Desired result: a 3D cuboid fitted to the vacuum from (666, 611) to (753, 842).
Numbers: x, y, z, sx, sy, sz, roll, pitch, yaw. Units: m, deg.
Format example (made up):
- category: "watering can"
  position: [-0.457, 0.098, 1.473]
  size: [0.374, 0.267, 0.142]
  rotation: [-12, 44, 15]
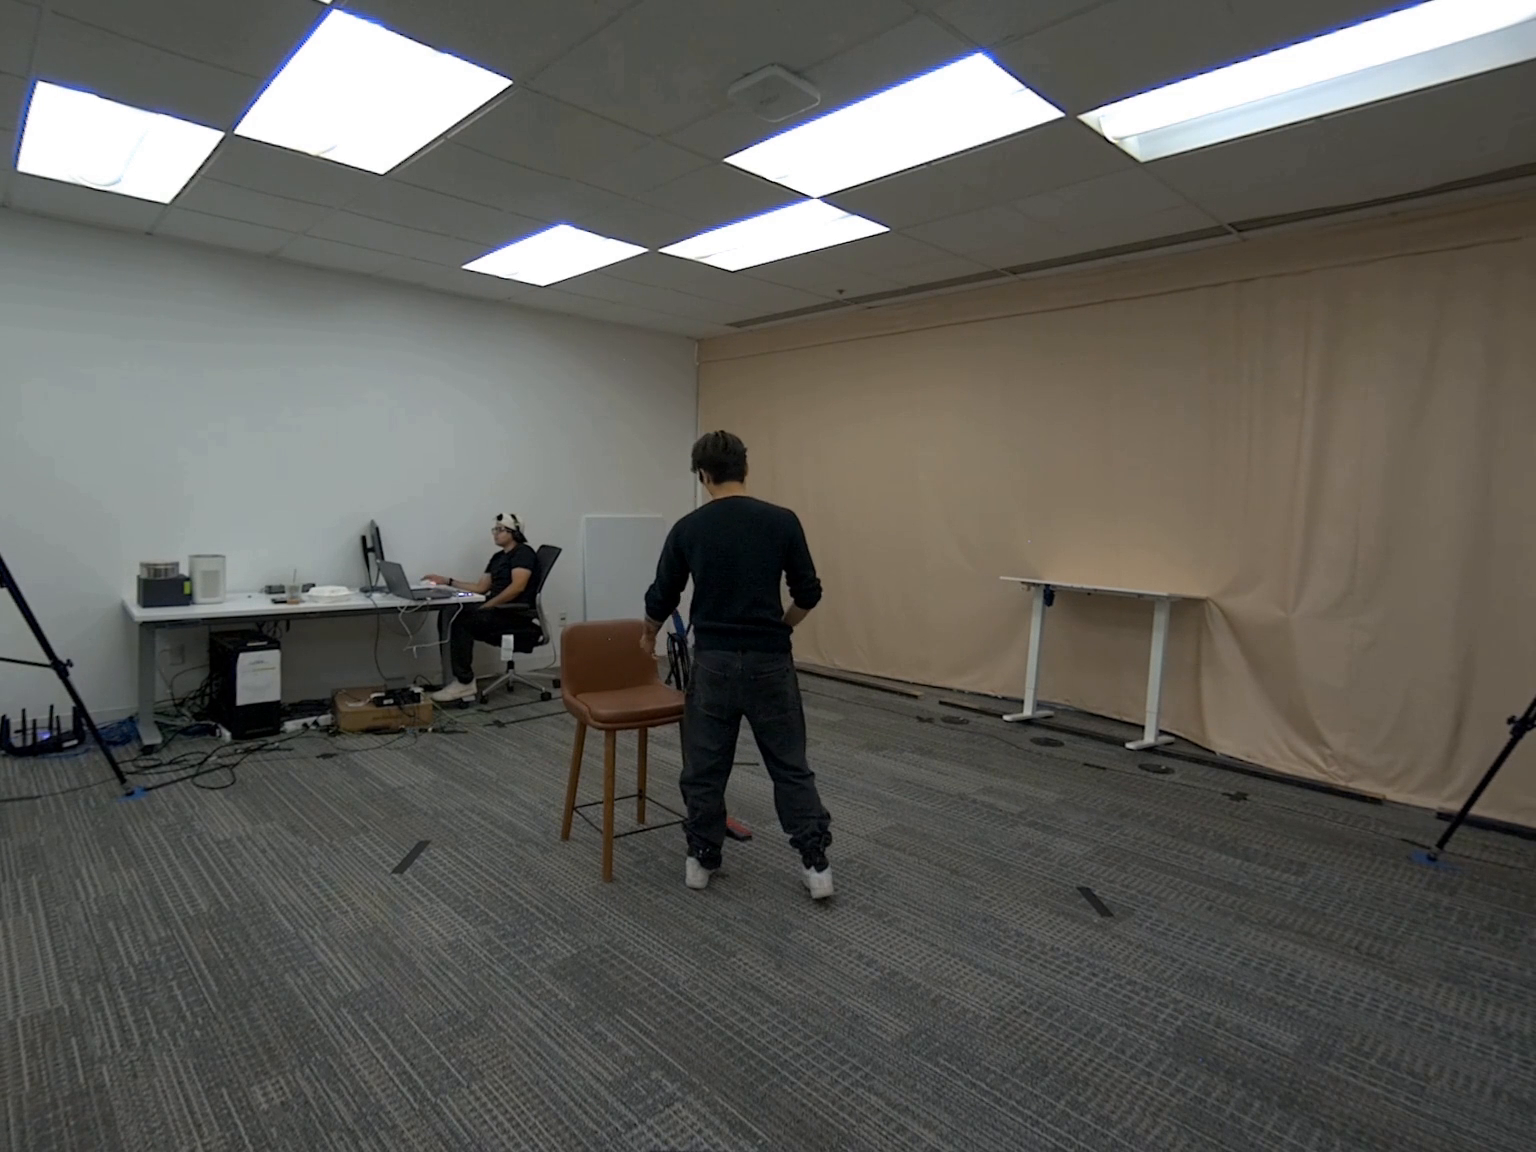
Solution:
- category: "vacuum"
  position: [-0.313, 0.574, 3.433]
  size: [0.142, 1.039, 0.258]
  rotation: [-18, 13, -29]
